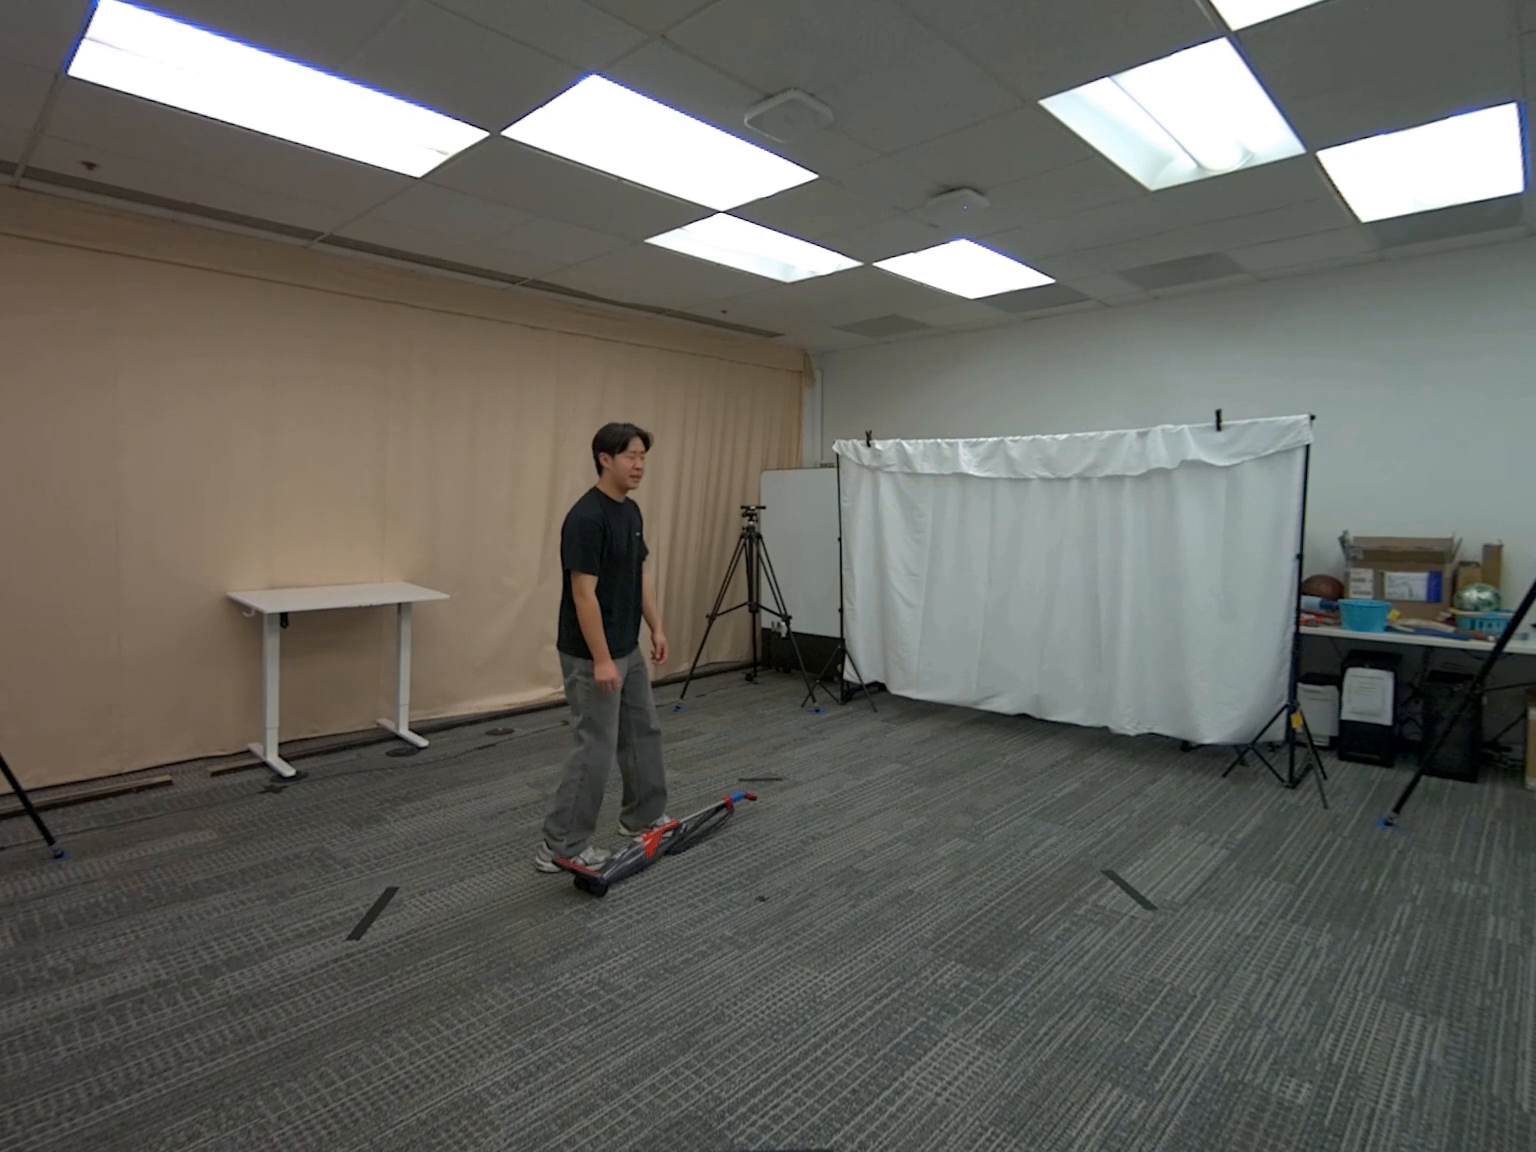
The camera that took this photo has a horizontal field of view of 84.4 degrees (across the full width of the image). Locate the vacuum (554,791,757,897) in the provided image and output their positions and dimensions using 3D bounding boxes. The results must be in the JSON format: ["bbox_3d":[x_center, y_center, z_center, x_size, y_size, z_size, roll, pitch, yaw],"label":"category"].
[{"bbox_3d":[-0.358,1.050,3.420,0.260,0.144,1.019,-3,2,36],"label":"vacuum"}]
